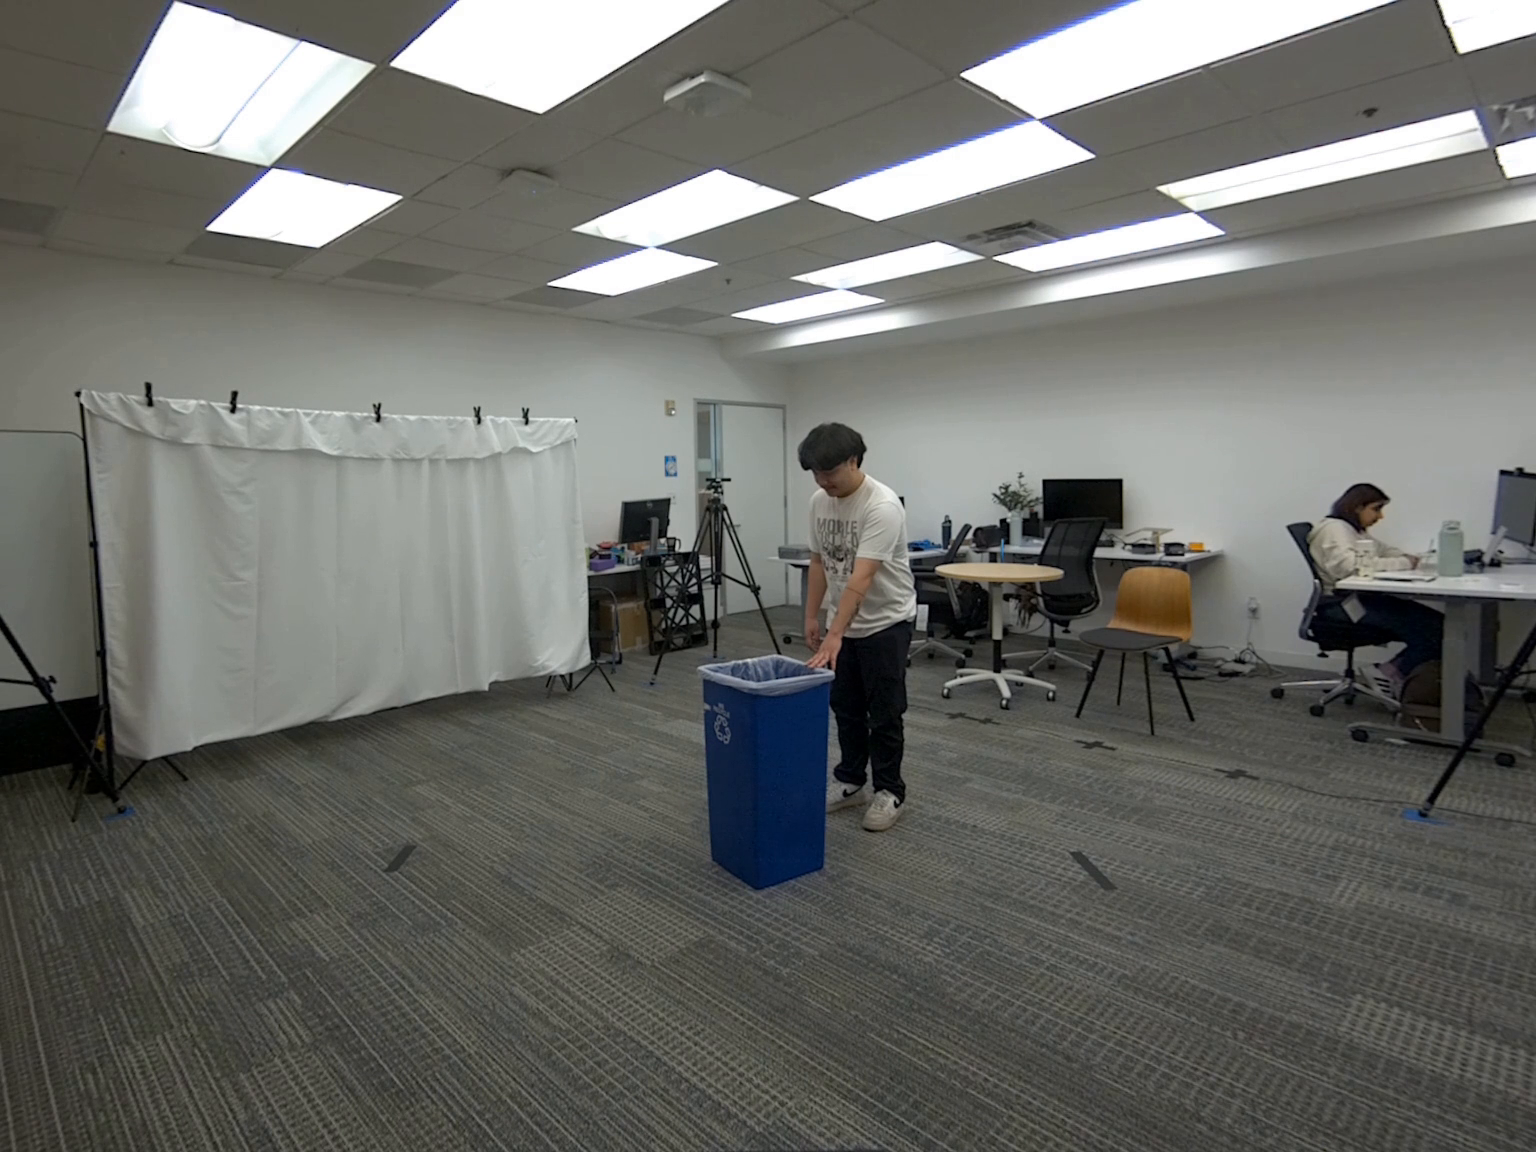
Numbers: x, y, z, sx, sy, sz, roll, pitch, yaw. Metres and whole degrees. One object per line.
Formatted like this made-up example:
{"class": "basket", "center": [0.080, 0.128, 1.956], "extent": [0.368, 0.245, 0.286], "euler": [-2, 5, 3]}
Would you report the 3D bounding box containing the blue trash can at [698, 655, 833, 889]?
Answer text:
{"class": "blue trash can", "center": [0.001, 0.686, 3.068], "extent": [0.368, 0.711, 0.385], "euler": [-4, 5, -35]}
